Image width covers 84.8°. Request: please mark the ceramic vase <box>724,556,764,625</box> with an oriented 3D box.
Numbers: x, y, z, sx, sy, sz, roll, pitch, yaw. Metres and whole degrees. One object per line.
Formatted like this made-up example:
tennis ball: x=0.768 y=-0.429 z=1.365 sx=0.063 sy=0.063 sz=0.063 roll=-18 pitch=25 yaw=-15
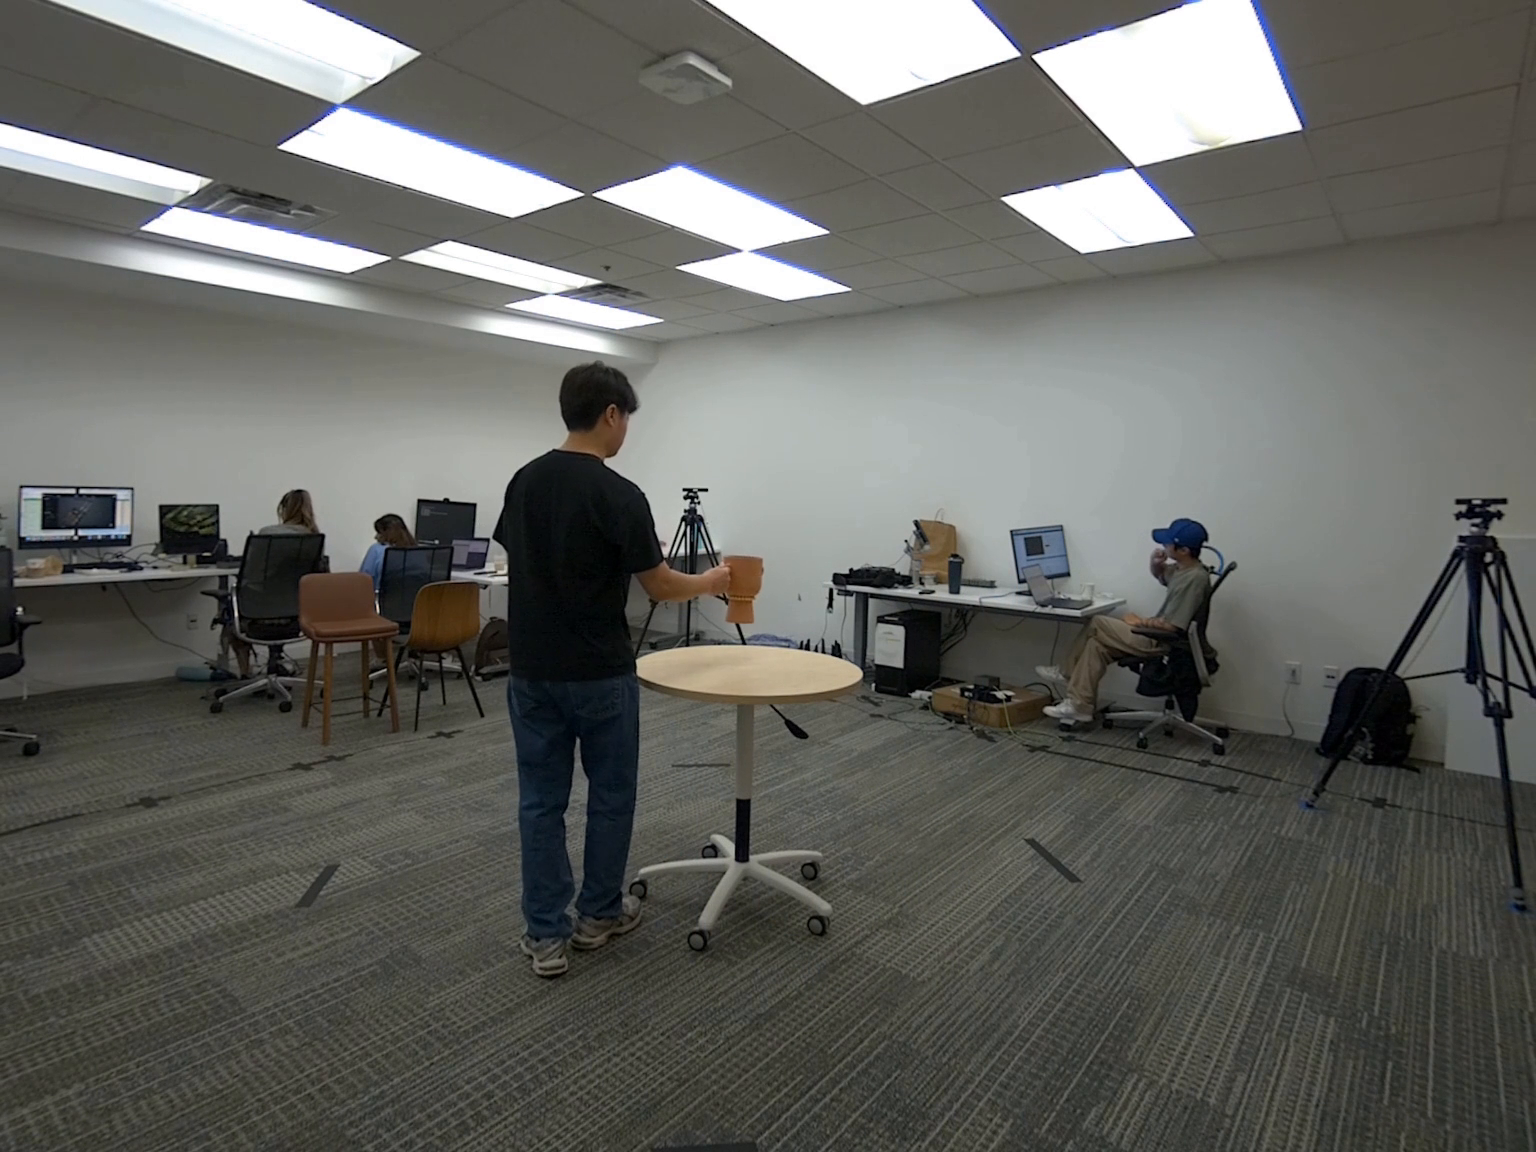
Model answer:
ceramic vase: x=-0.100 y=0.044 z=2.870 sx=0.158 sy=0.219 sz=0.135 roll=5 pitch=3 yaw=-2
